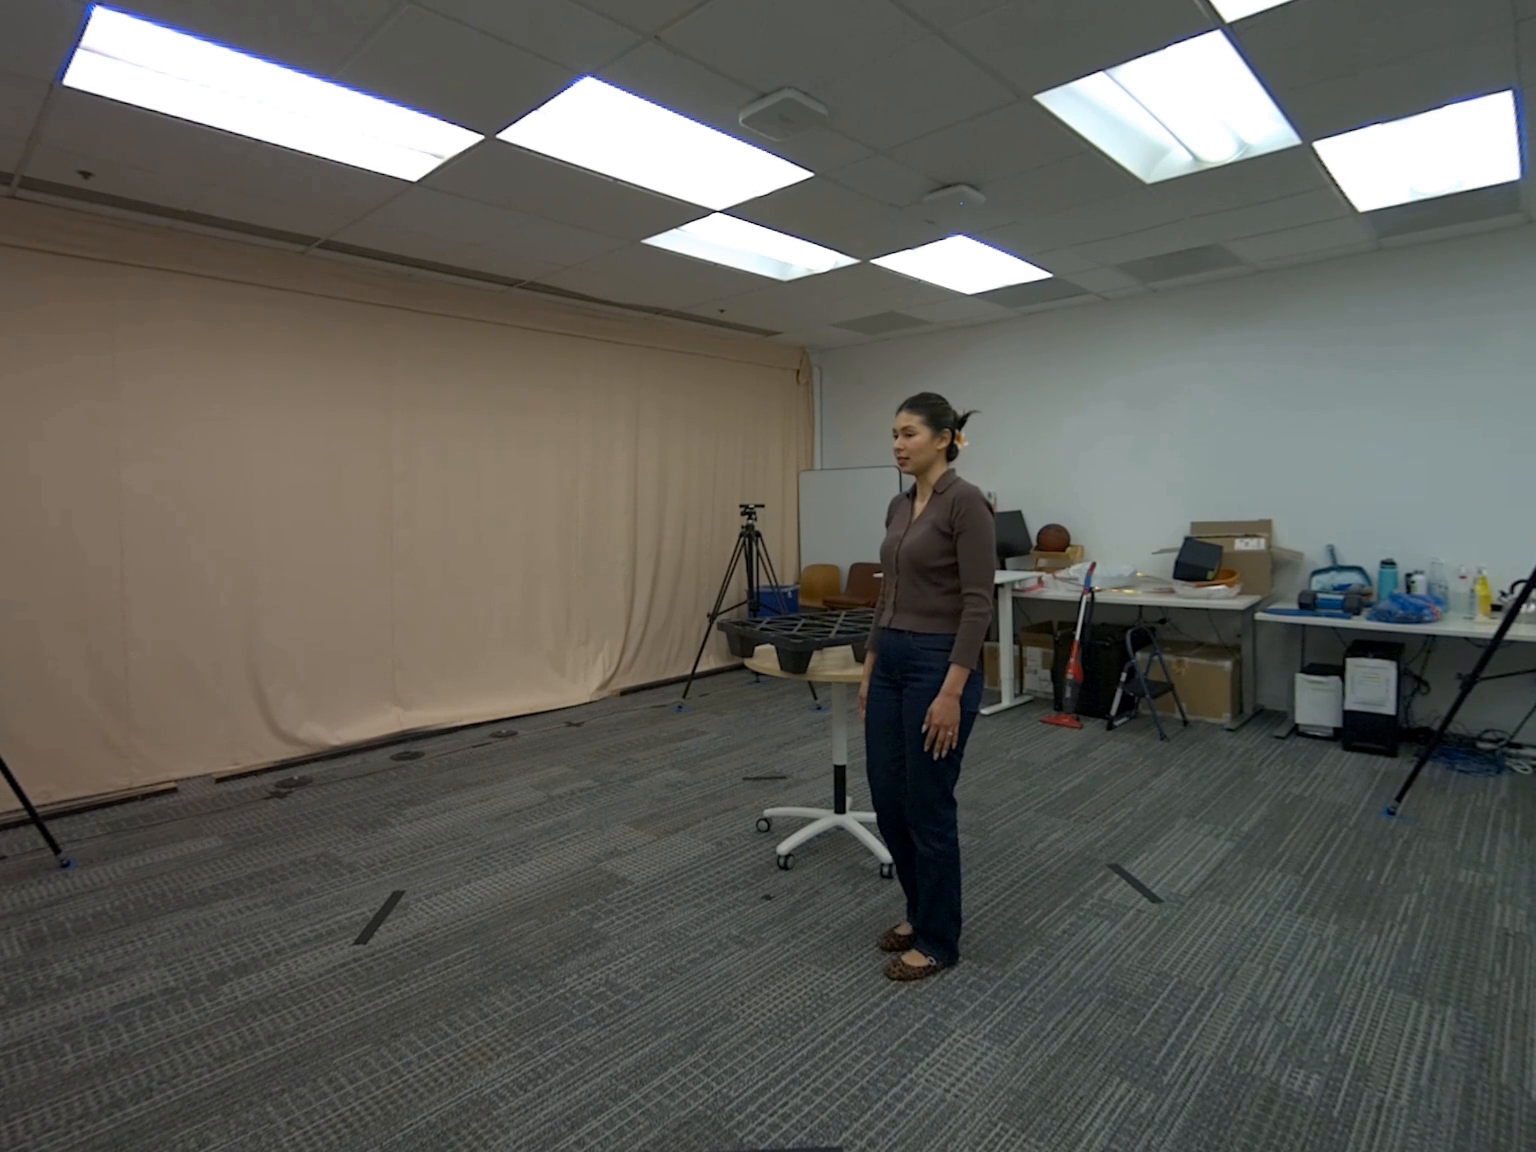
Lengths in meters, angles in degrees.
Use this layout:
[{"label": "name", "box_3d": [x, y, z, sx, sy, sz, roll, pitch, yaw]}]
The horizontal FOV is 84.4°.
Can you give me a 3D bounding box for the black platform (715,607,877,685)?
[{"label": "black platform", "box_3d": [0.287, 0.255, 3.373, 0.784, 0.143, 0.623, -3, 6, -30]}]
